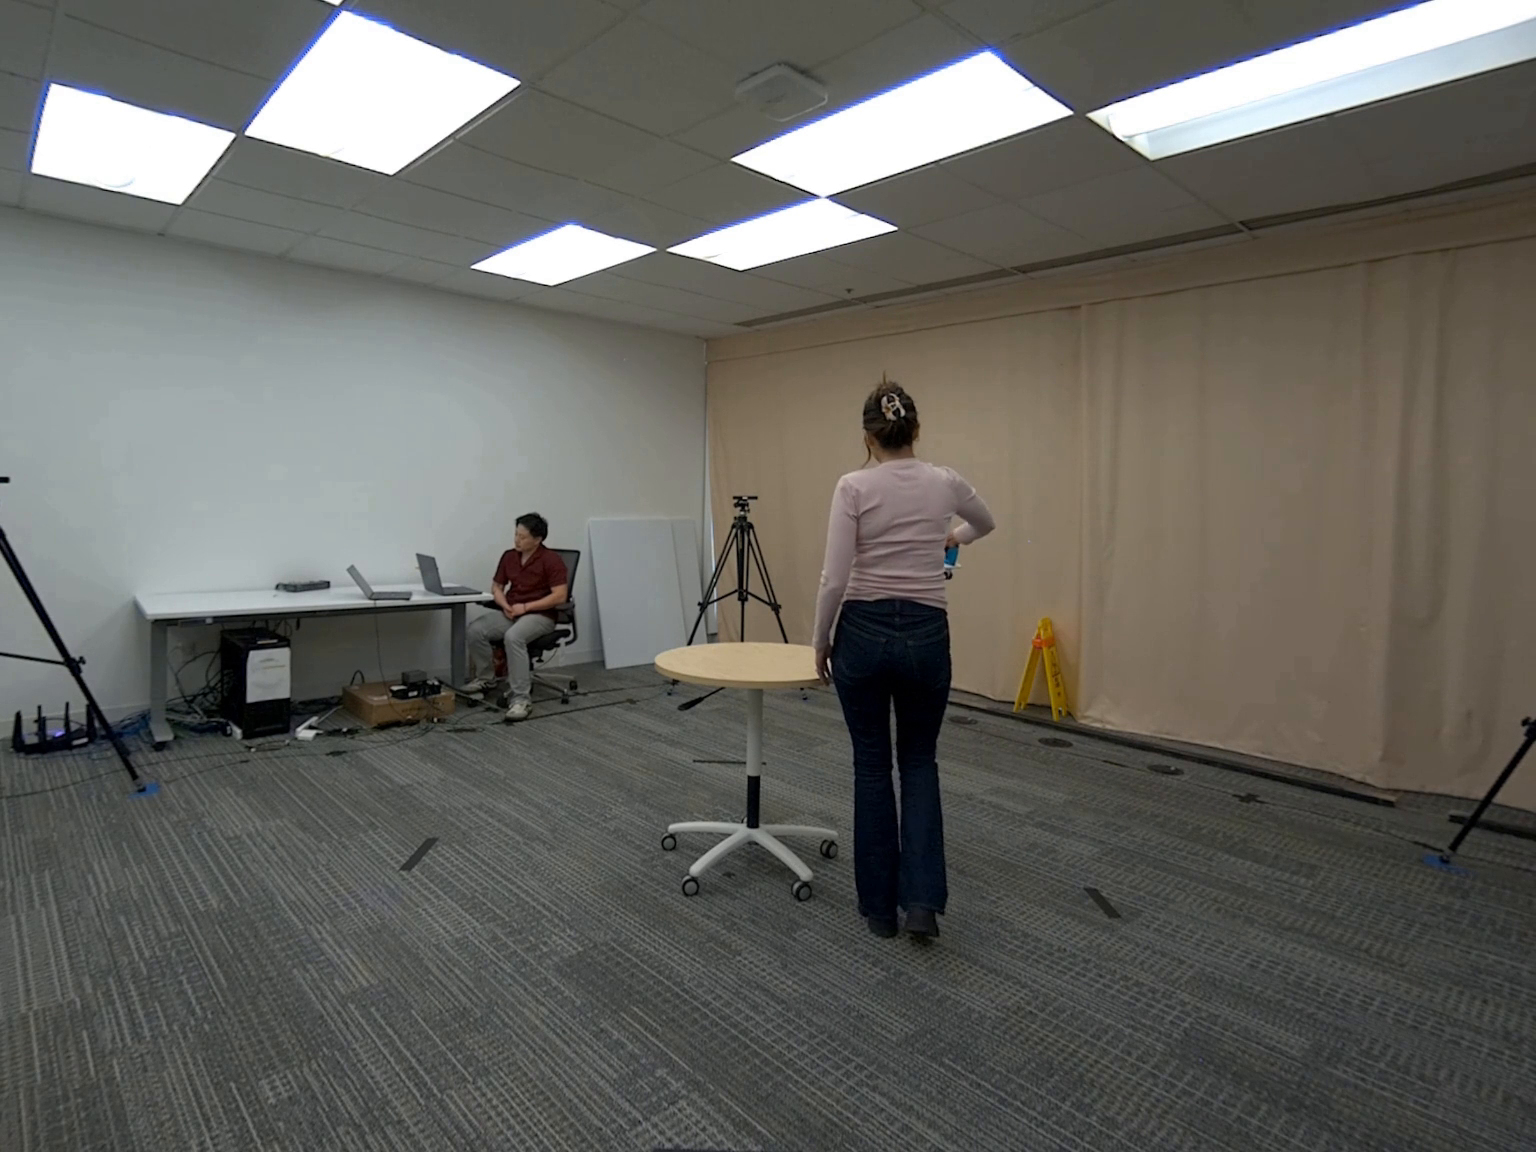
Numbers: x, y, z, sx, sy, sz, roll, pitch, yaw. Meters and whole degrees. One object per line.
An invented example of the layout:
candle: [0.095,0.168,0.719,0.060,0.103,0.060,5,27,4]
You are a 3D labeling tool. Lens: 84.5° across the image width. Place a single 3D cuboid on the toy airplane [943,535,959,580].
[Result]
toy airplane: [0.618,-0.075,3.242,0.262,0.156,0.249,6,8,14]
